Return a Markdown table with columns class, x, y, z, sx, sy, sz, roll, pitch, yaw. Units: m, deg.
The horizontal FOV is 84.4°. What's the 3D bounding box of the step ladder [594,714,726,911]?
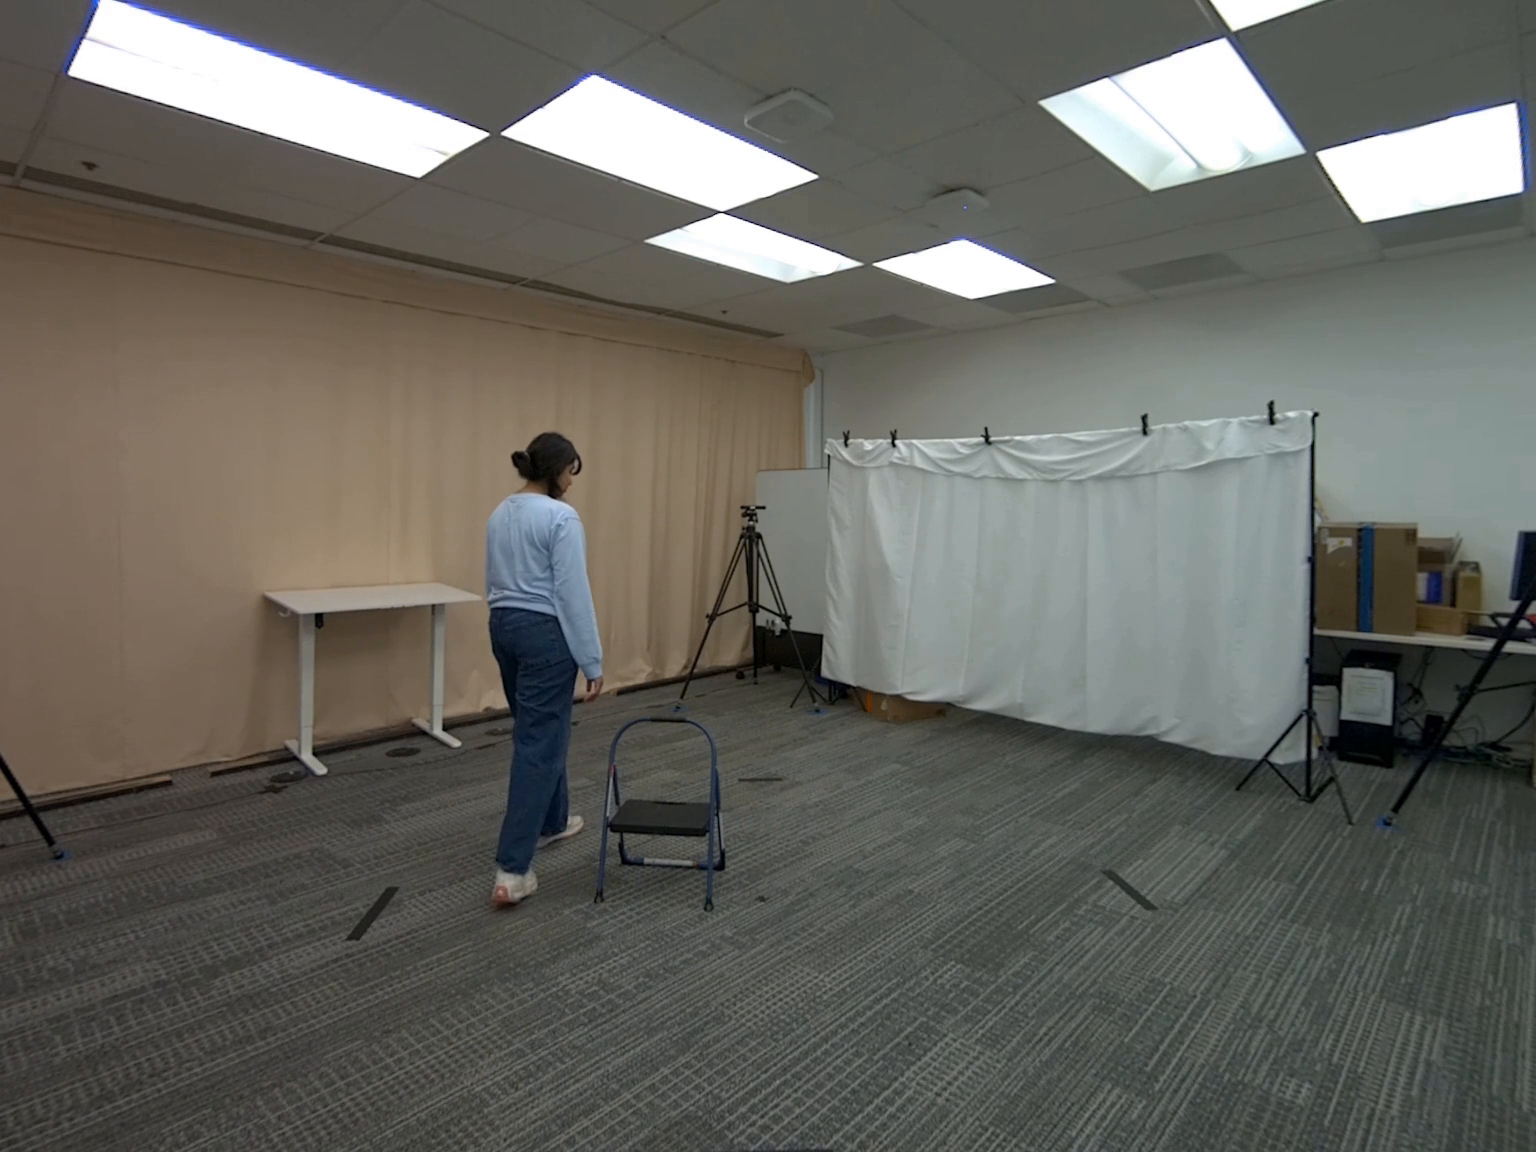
| class | x | y | z | sx | sy | sz | roll | pitch | yaw |
| --- | --- | --- | --- | --- | --- | --- | --- | --- | --- |
| step ladder | -0.385 | 0.835 | 3.086 | 0.435 | 0.605 | 0.347 | 0 | 4 | 8 |
